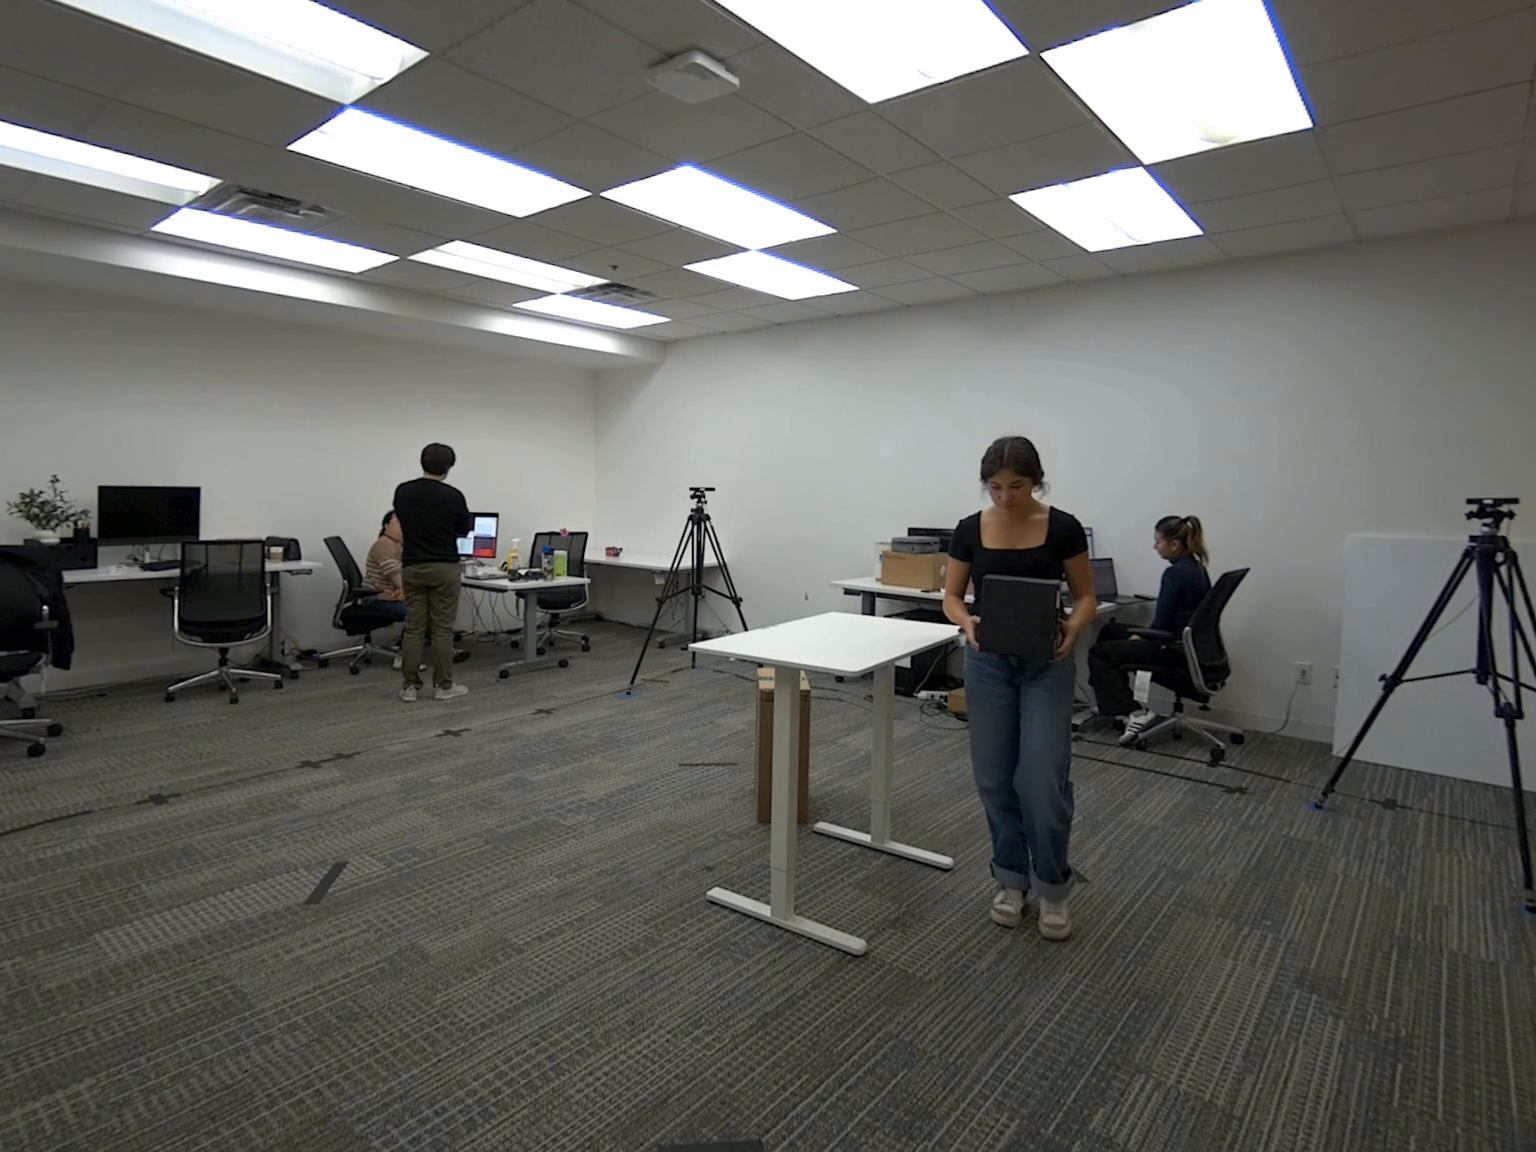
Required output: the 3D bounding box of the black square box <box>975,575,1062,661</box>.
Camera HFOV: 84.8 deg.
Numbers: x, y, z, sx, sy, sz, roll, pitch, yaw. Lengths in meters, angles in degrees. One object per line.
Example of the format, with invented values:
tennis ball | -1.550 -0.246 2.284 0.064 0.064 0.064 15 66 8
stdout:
black square box | 0.768 0.114 2.575 0.223 0.227 0.152 6 4 24
